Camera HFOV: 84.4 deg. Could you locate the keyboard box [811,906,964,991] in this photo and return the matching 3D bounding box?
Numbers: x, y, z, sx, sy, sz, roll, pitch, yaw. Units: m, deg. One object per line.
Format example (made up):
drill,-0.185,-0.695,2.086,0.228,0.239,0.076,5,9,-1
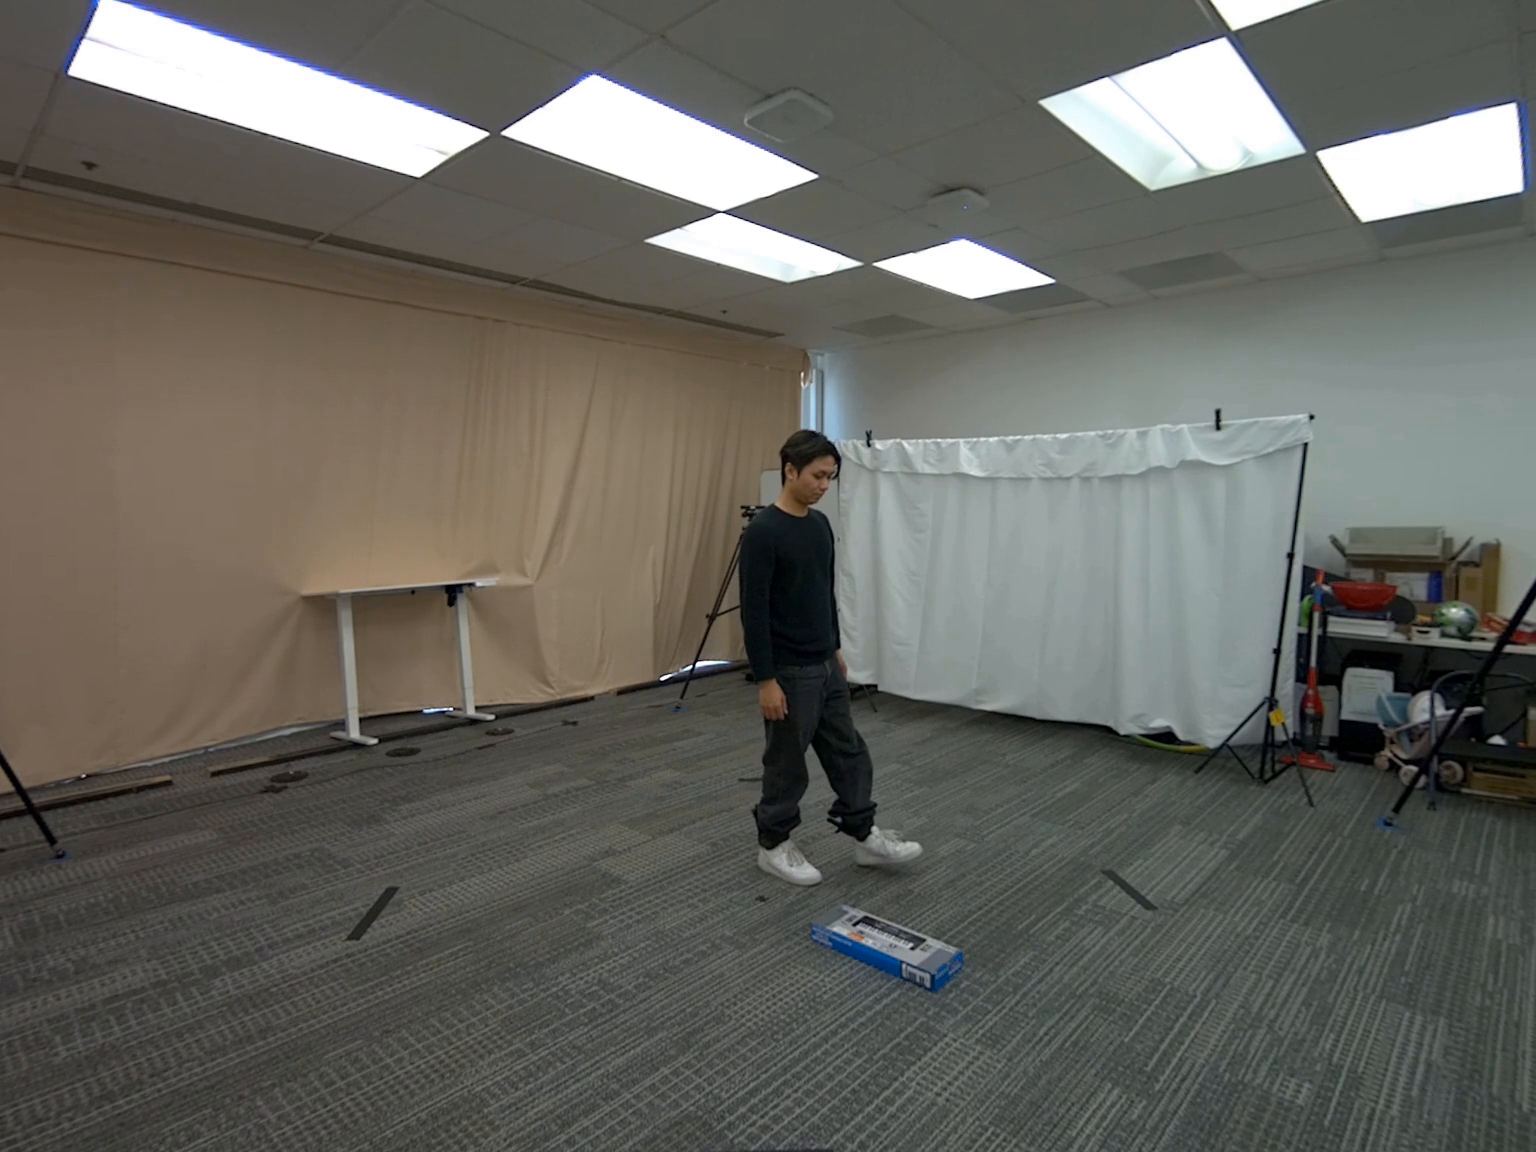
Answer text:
keyboard box,0.362,1.143,2.610,0.451,0.059,0.171,3,6,41
